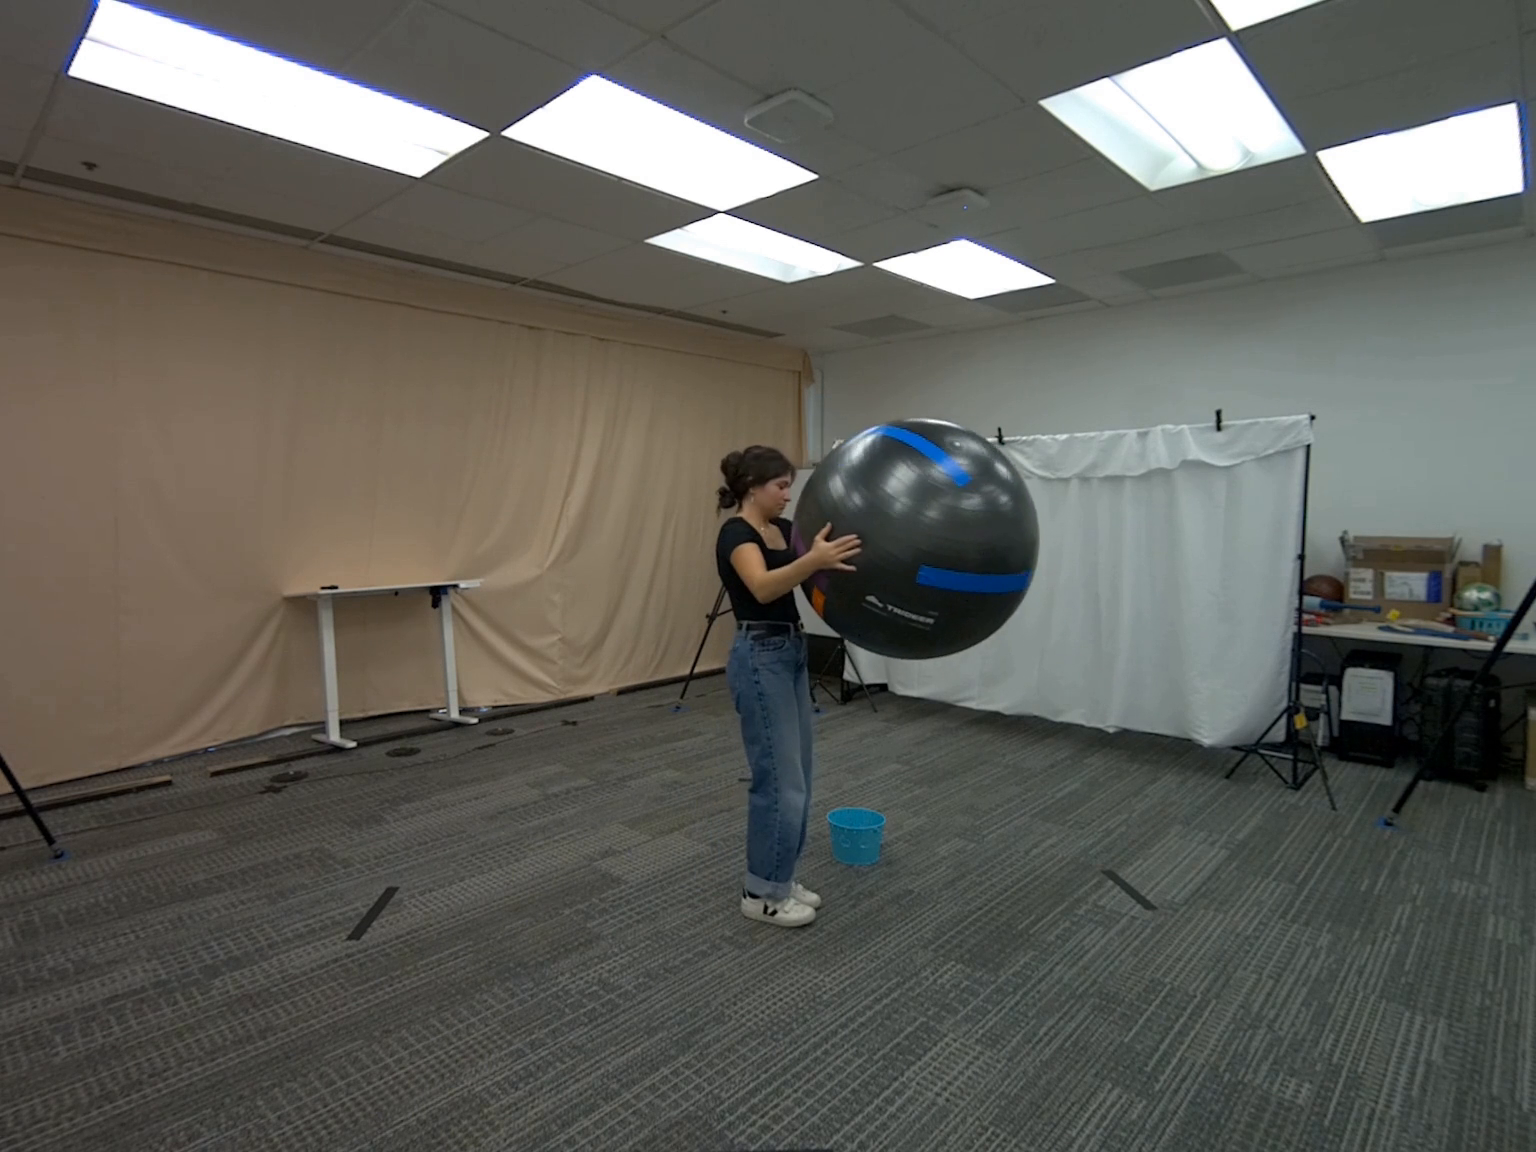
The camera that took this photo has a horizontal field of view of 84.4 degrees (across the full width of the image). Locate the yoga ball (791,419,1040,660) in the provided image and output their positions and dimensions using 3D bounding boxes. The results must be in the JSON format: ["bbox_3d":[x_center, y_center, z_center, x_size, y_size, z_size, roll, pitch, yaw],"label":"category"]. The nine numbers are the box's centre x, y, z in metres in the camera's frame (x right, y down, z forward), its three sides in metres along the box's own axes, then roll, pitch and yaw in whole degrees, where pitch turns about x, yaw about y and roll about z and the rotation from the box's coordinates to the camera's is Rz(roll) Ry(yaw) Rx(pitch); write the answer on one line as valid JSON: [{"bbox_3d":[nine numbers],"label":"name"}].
[{"bbox_3d":[0.469,-0.099,2.660,0.757,0.756,0.760,0,4,-2],"label":"yoga ball"}]
